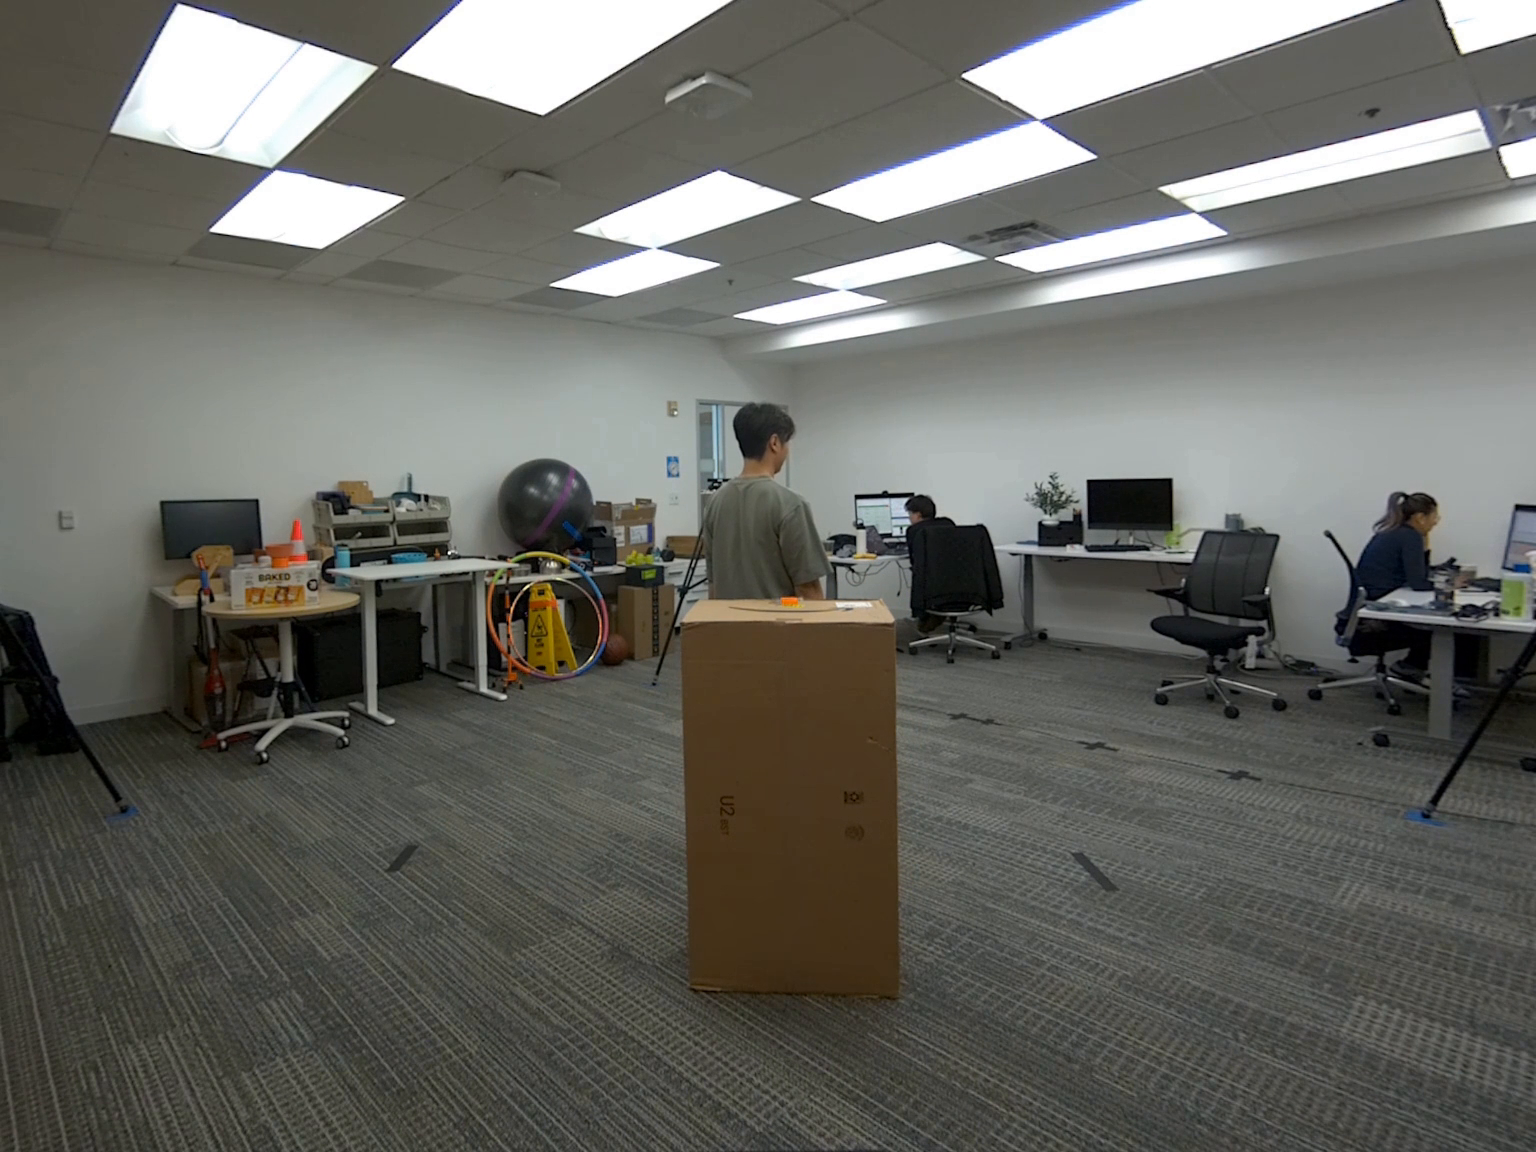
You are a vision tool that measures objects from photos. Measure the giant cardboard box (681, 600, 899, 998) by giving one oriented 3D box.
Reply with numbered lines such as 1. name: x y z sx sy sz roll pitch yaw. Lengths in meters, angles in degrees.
1. giant cardboard box: 0.075 0.603 2.493 0.580 1.022 0.426 -1 4 4
